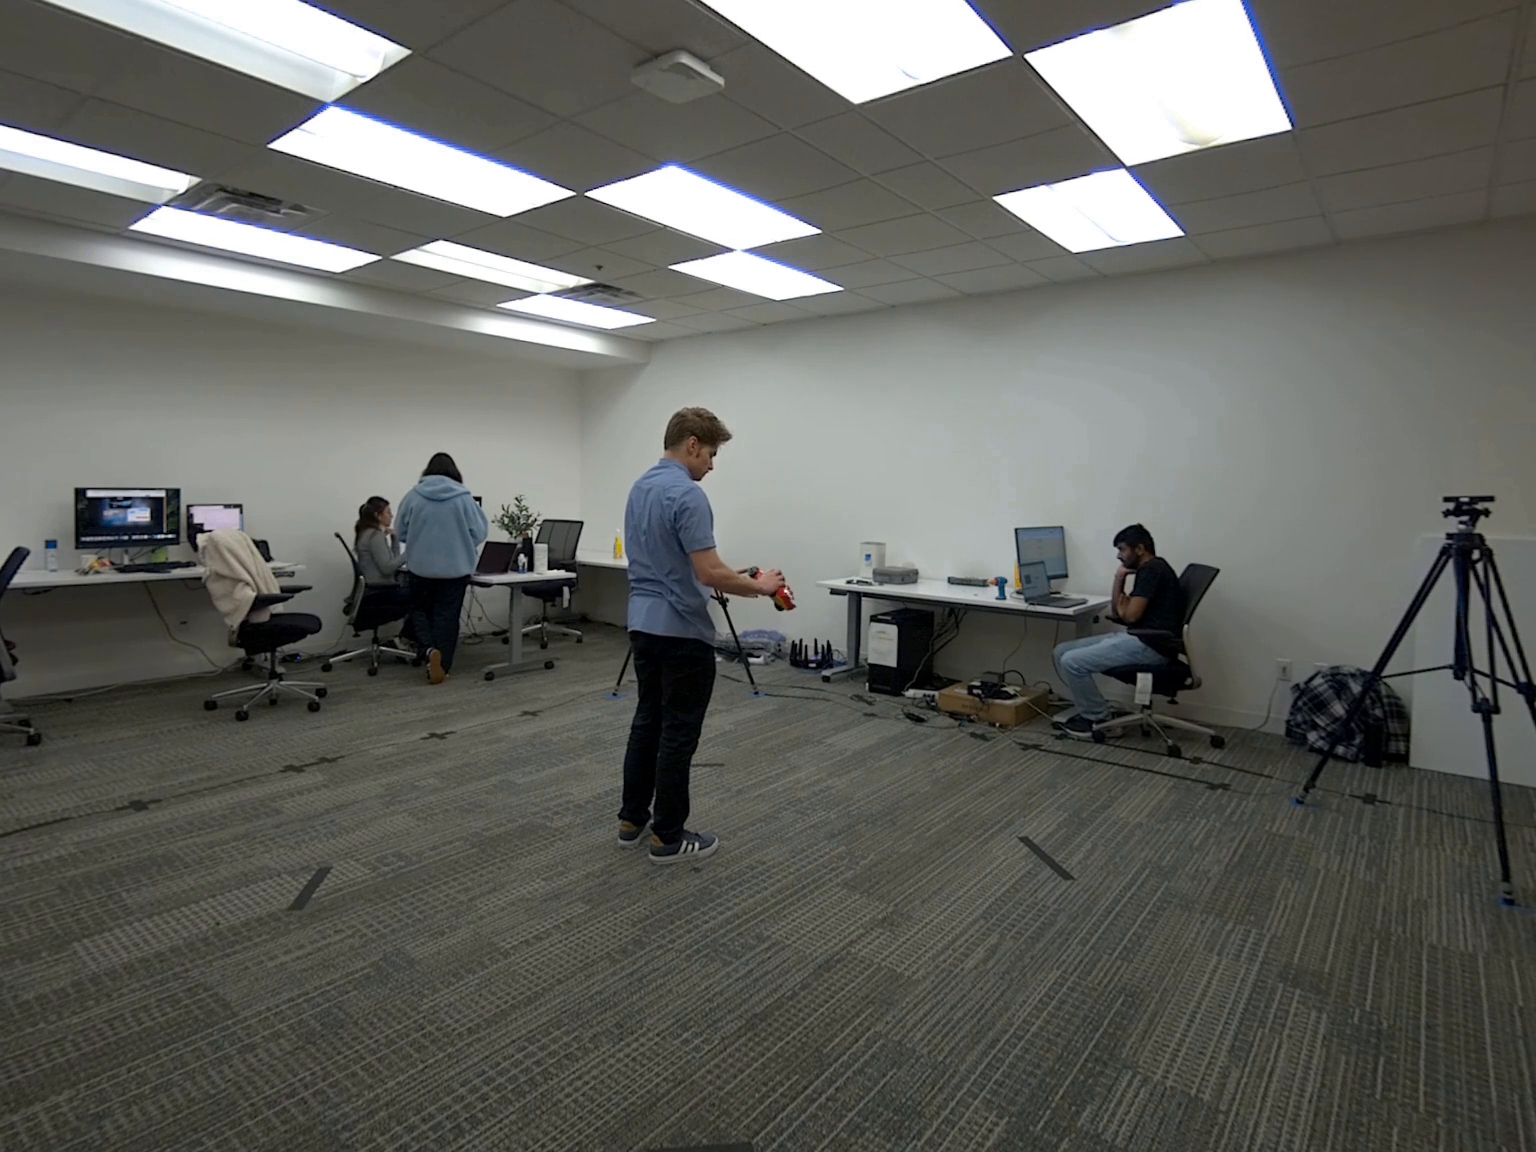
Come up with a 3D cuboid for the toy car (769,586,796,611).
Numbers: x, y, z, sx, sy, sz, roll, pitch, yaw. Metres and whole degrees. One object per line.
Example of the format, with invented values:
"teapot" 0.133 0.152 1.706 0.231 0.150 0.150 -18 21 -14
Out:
"toy car" 0.005 0.057 3.277 0.083 0.125 0.265 -44 41 -15
